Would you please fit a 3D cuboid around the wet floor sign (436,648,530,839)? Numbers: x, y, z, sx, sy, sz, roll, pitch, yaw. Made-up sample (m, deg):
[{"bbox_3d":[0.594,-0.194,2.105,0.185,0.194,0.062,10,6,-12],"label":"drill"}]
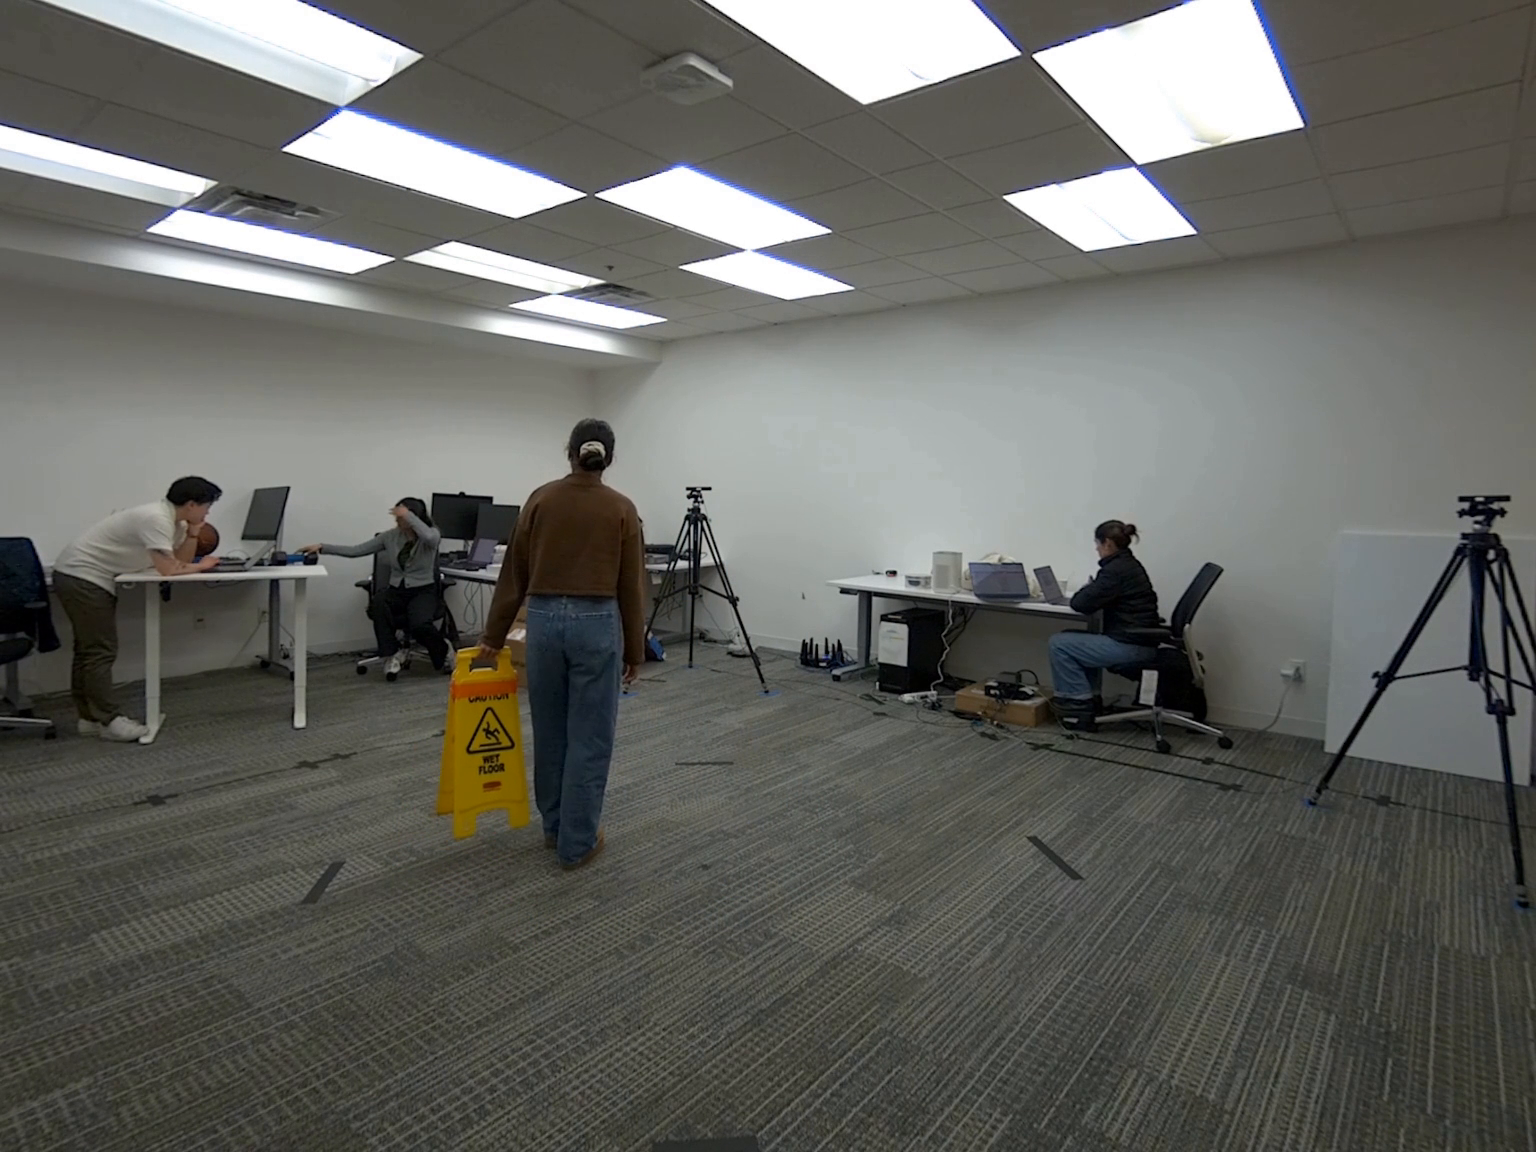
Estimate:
[{"bbox_3d":[-1.076,0.592,3.183,0.274,0.644,0.299,-1,3,-34],"label":"wet floor sign"}]
